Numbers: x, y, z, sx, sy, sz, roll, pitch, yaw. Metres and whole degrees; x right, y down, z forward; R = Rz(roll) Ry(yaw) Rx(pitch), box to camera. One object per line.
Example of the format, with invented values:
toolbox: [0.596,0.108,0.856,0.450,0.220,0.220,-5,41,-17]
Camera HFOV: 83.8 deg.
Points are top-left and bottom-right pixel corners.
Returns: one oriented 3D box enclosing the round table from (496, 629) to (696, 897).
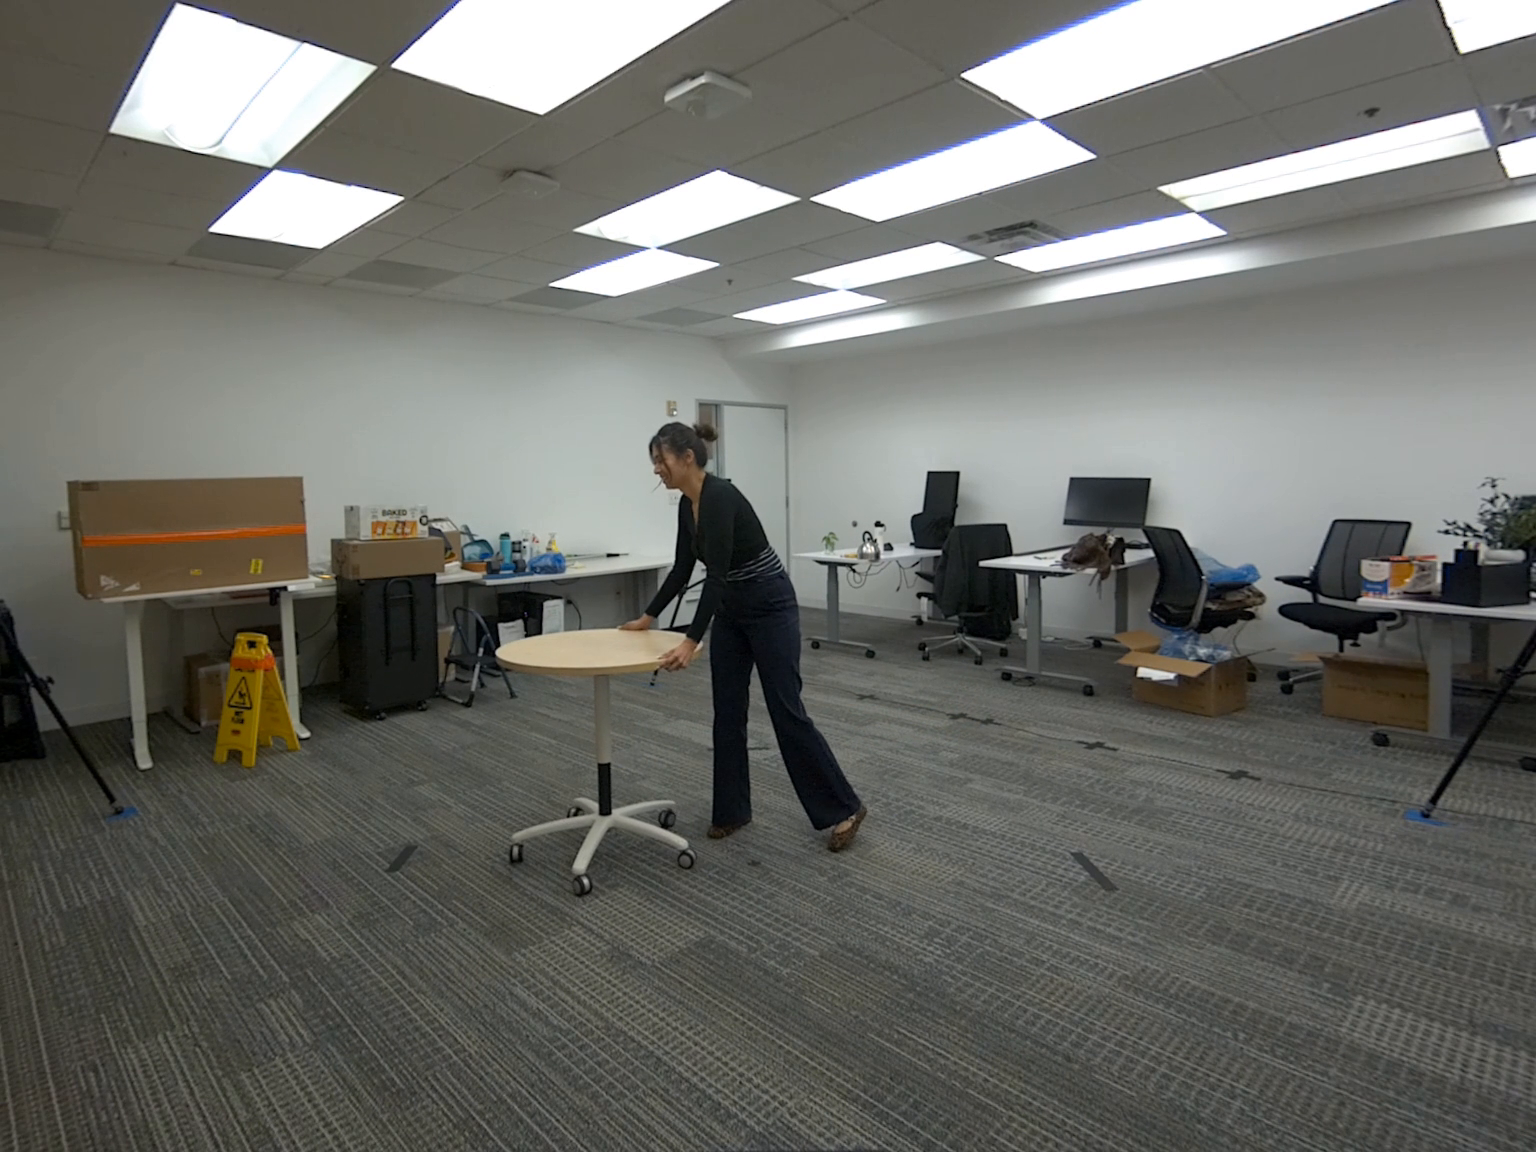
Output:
round table: [-0.607,0.654,3.207,0.763,0.791,0.768,-1,4,-2]
